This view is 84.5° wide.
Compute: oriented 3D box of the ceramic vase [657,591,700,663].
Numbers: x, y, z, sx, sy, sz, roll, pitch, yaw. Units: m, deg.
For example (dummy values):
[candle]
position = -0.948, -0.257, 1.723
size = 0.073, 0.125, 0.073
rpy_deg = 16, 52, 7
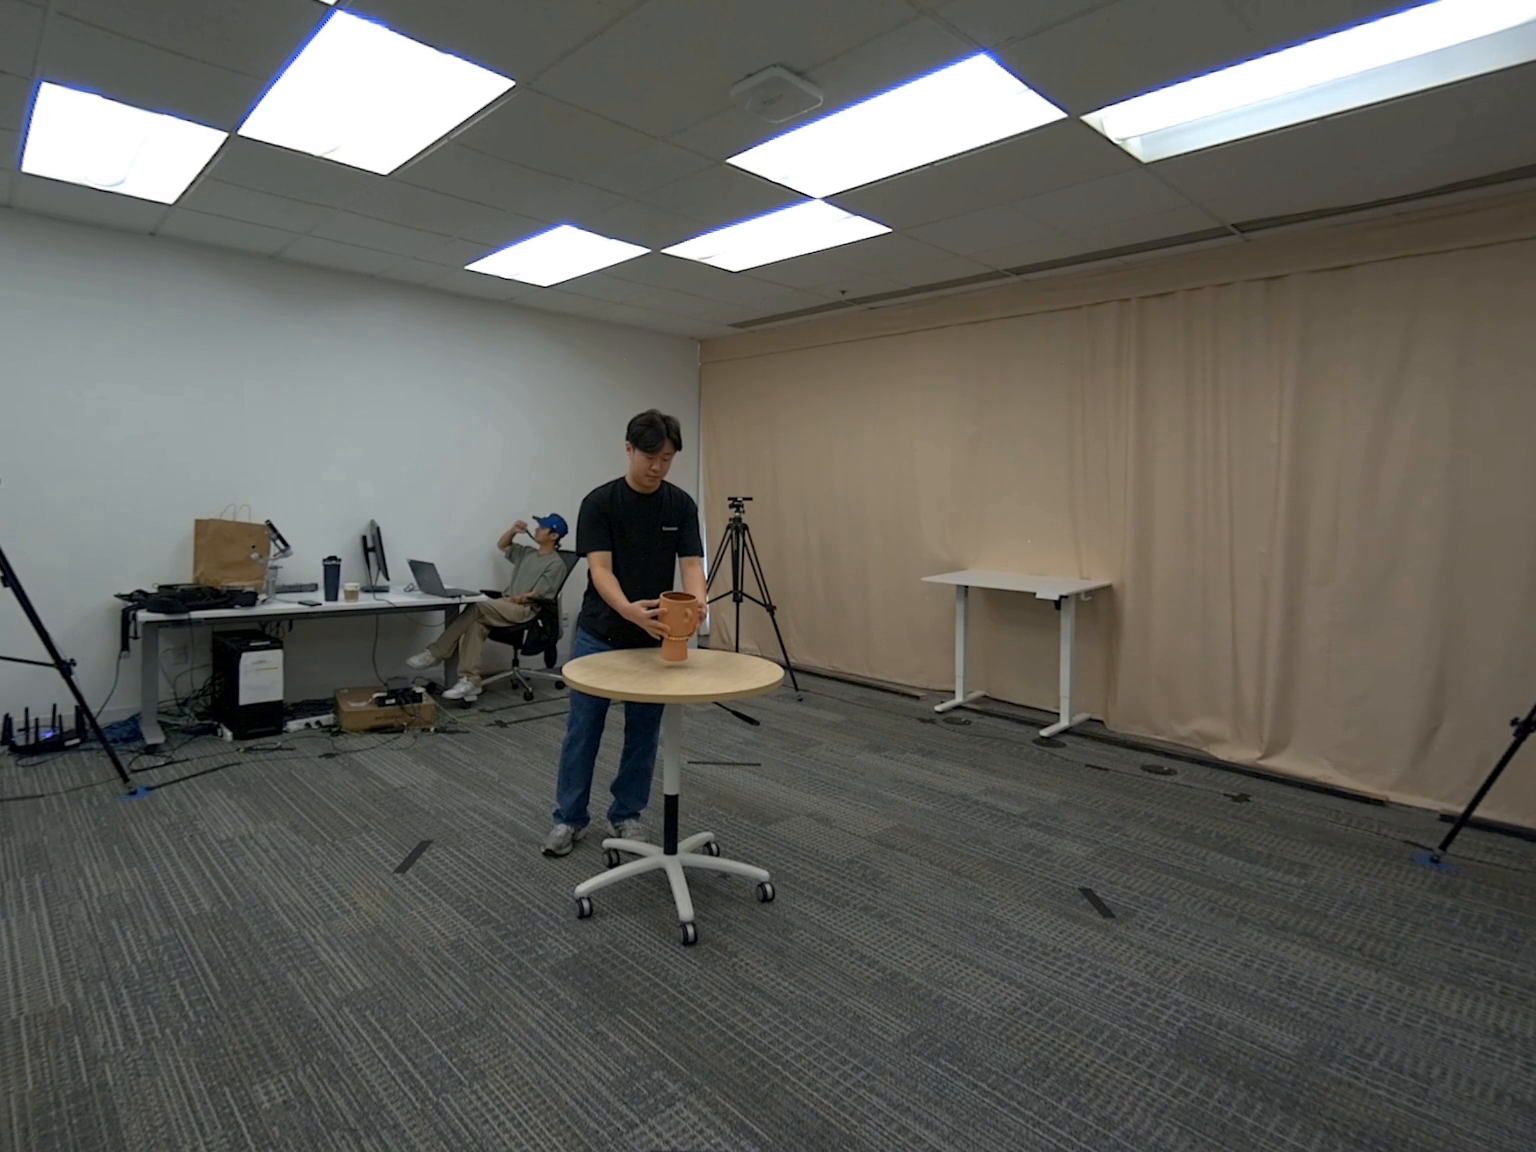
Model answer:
[ceramic vase]
position = -0.330, 0.179, 2.912
size = 0.135, 0.218, 0.159
rpy_deg = 6, 9, 4
